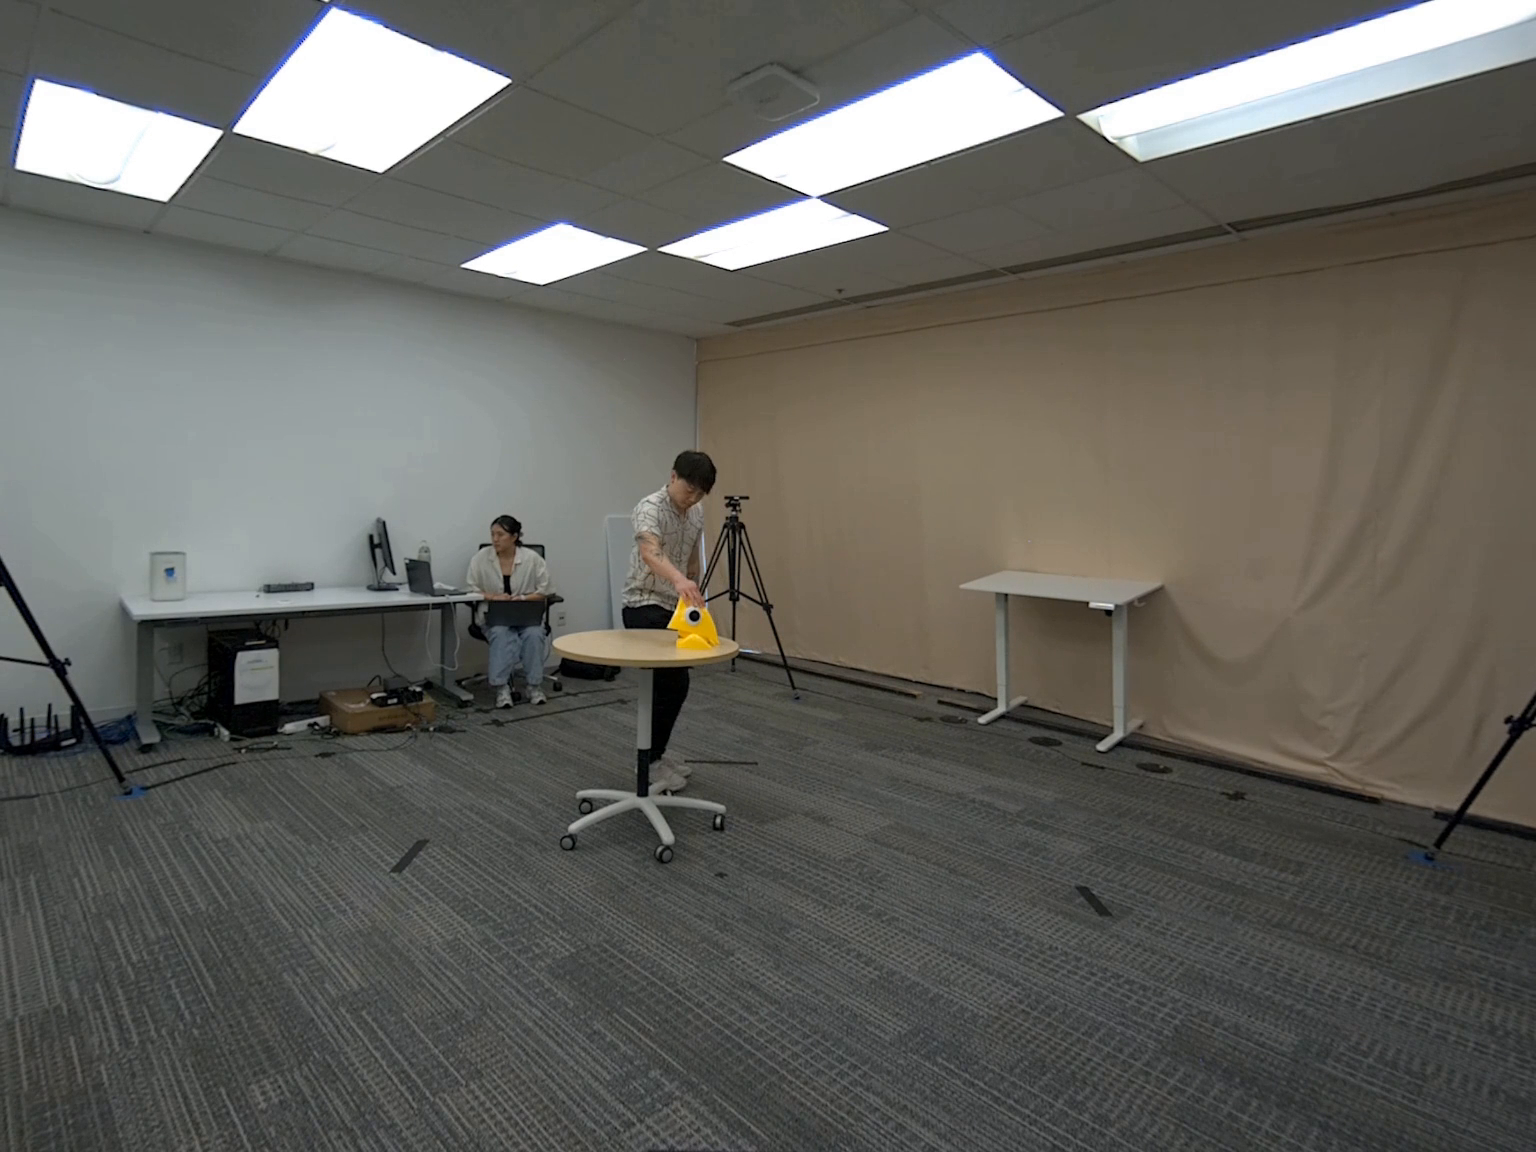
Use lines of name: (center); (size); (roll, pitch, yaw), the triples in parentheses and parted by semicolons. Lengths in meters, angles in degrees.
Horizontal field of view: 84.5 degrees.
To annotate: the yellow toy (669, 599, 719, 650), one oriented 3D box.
yellow toy: (-0.307, 0.171, 3.477); (0.195, 0.230, 0.203); (3, 4, 12)
